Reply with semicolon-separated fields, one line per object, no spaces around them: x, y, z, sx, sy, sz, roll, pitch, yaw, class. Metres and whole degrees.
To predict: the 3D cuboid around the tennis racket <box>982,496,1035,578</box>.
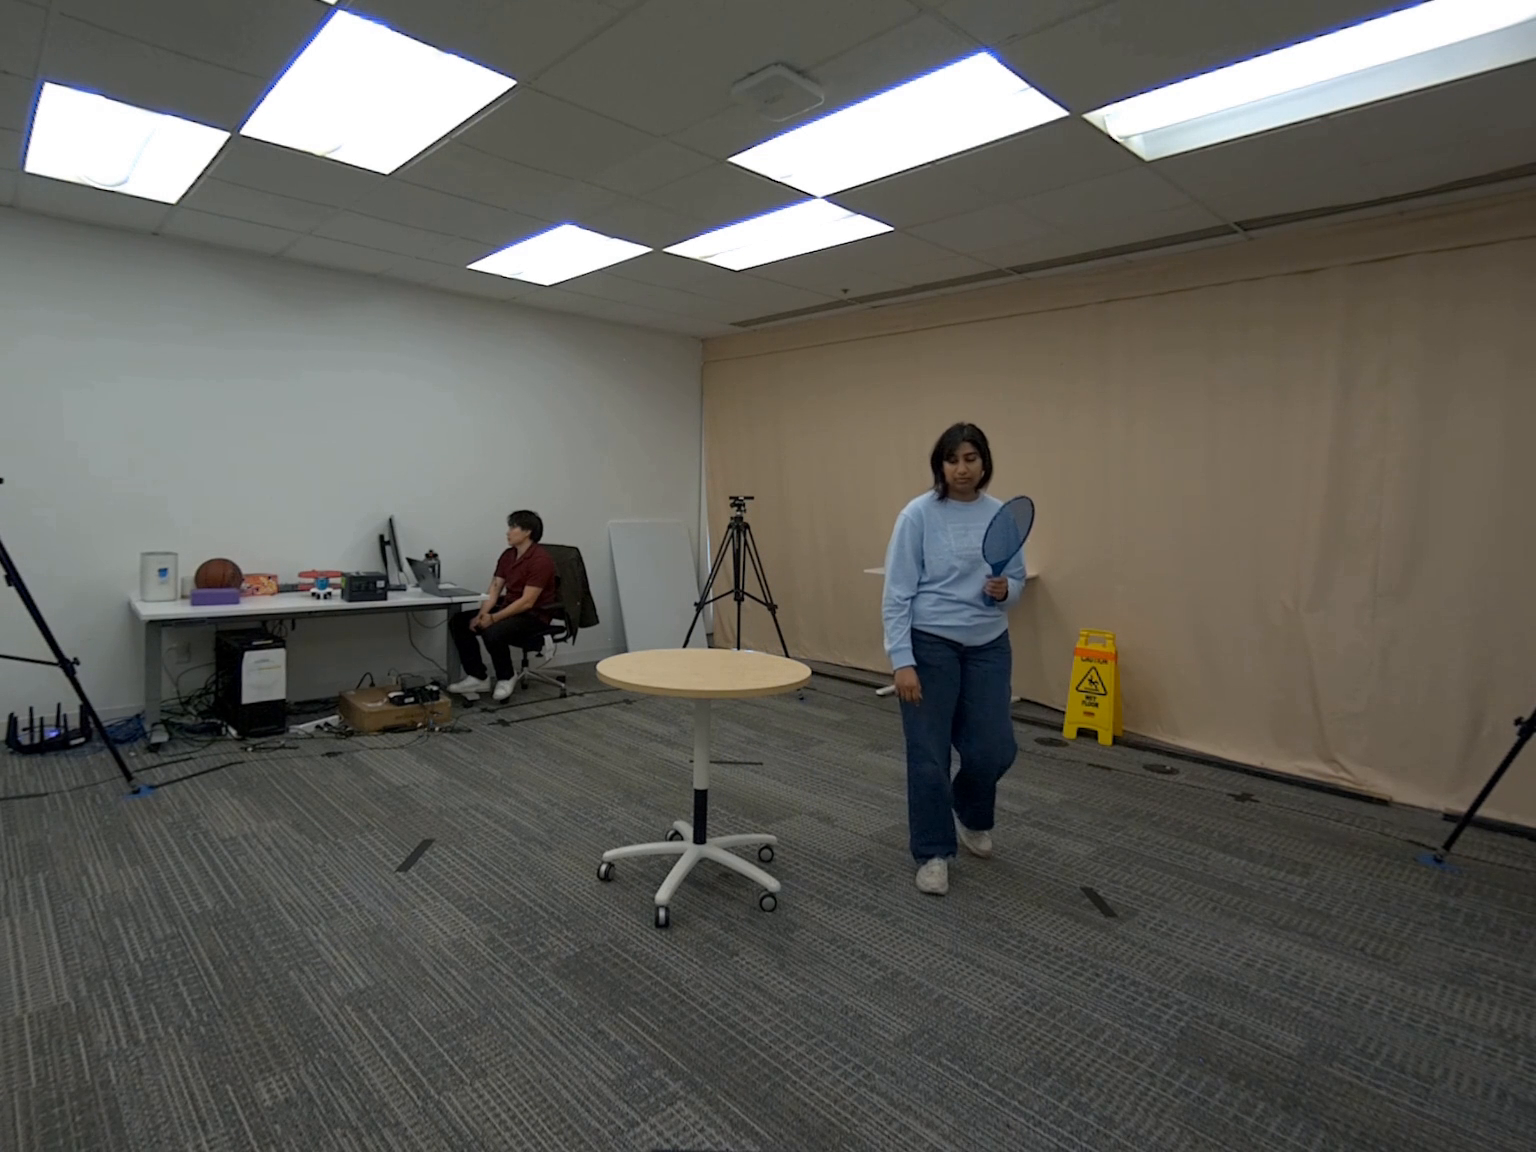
0.770;-0.080;2.825;0.211;0.424;0.033;-21;44;-25;tennis racket
